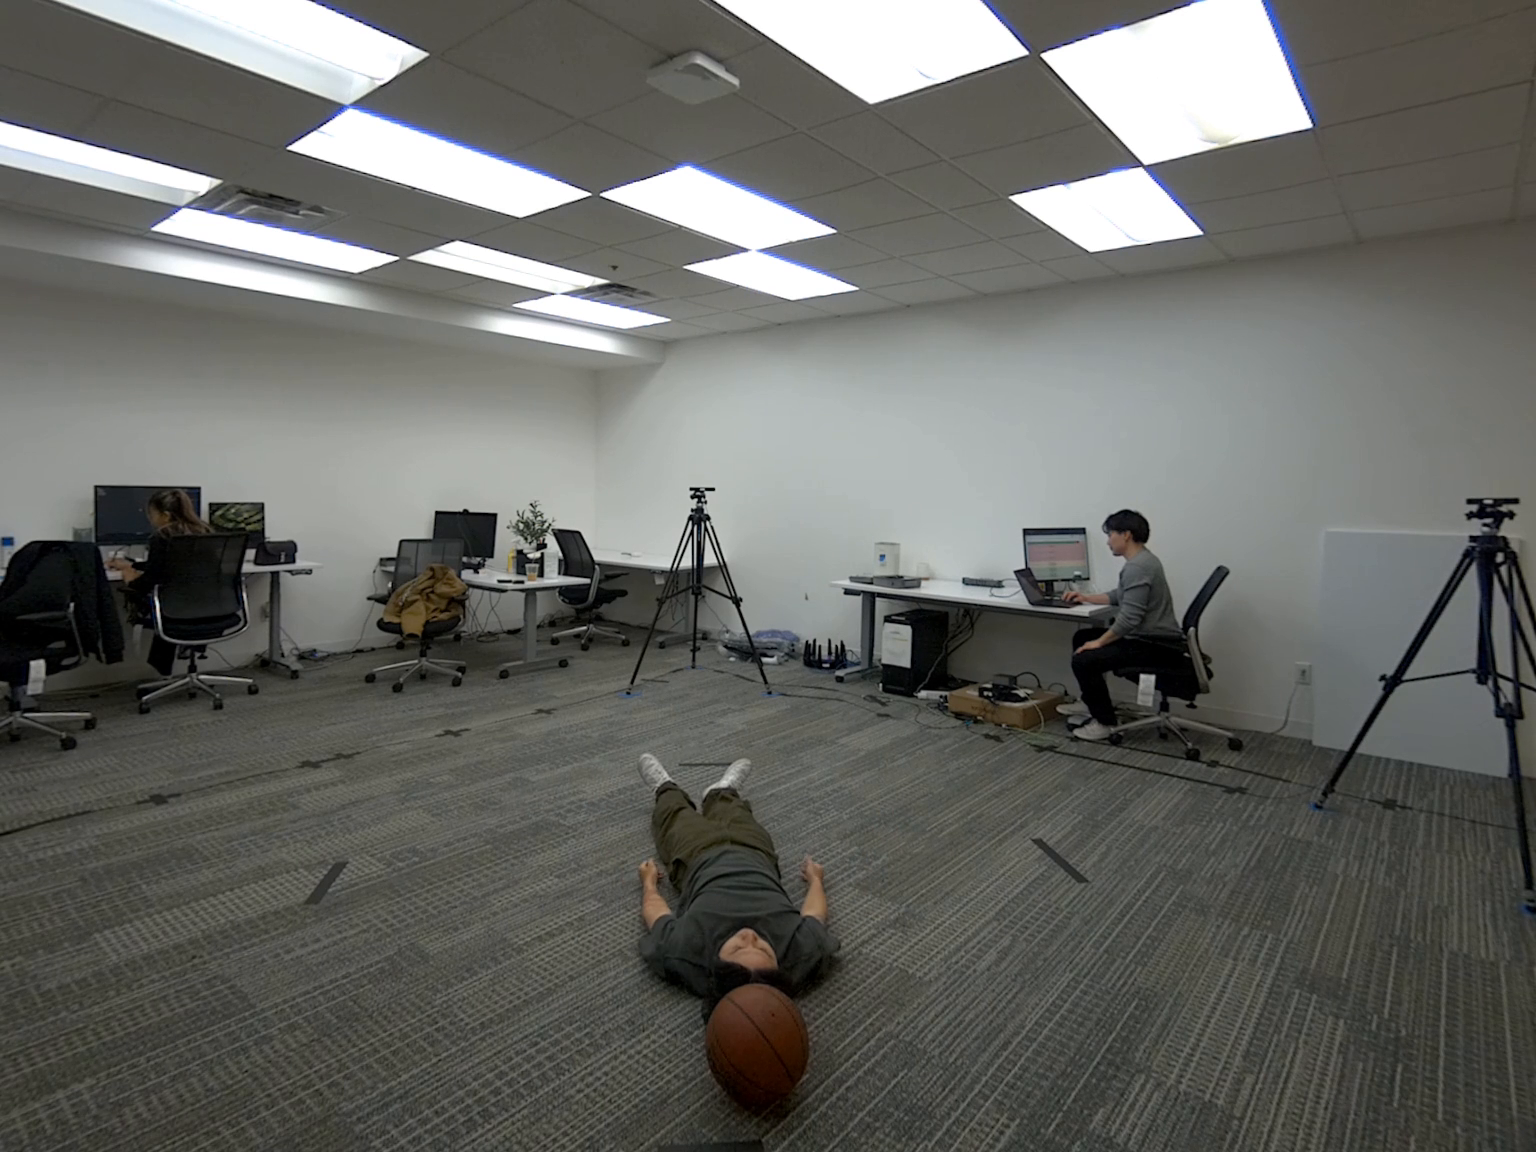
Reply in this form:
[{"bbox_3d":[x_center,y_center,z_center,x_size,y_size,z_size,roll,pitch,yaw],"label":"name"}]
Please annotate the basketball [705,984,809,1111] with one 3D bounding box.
[{"bbox_3d":[-0.028,1.068,1.955,0.235,0.235,0.237,1,4,-2],"label":"basketball"}]
